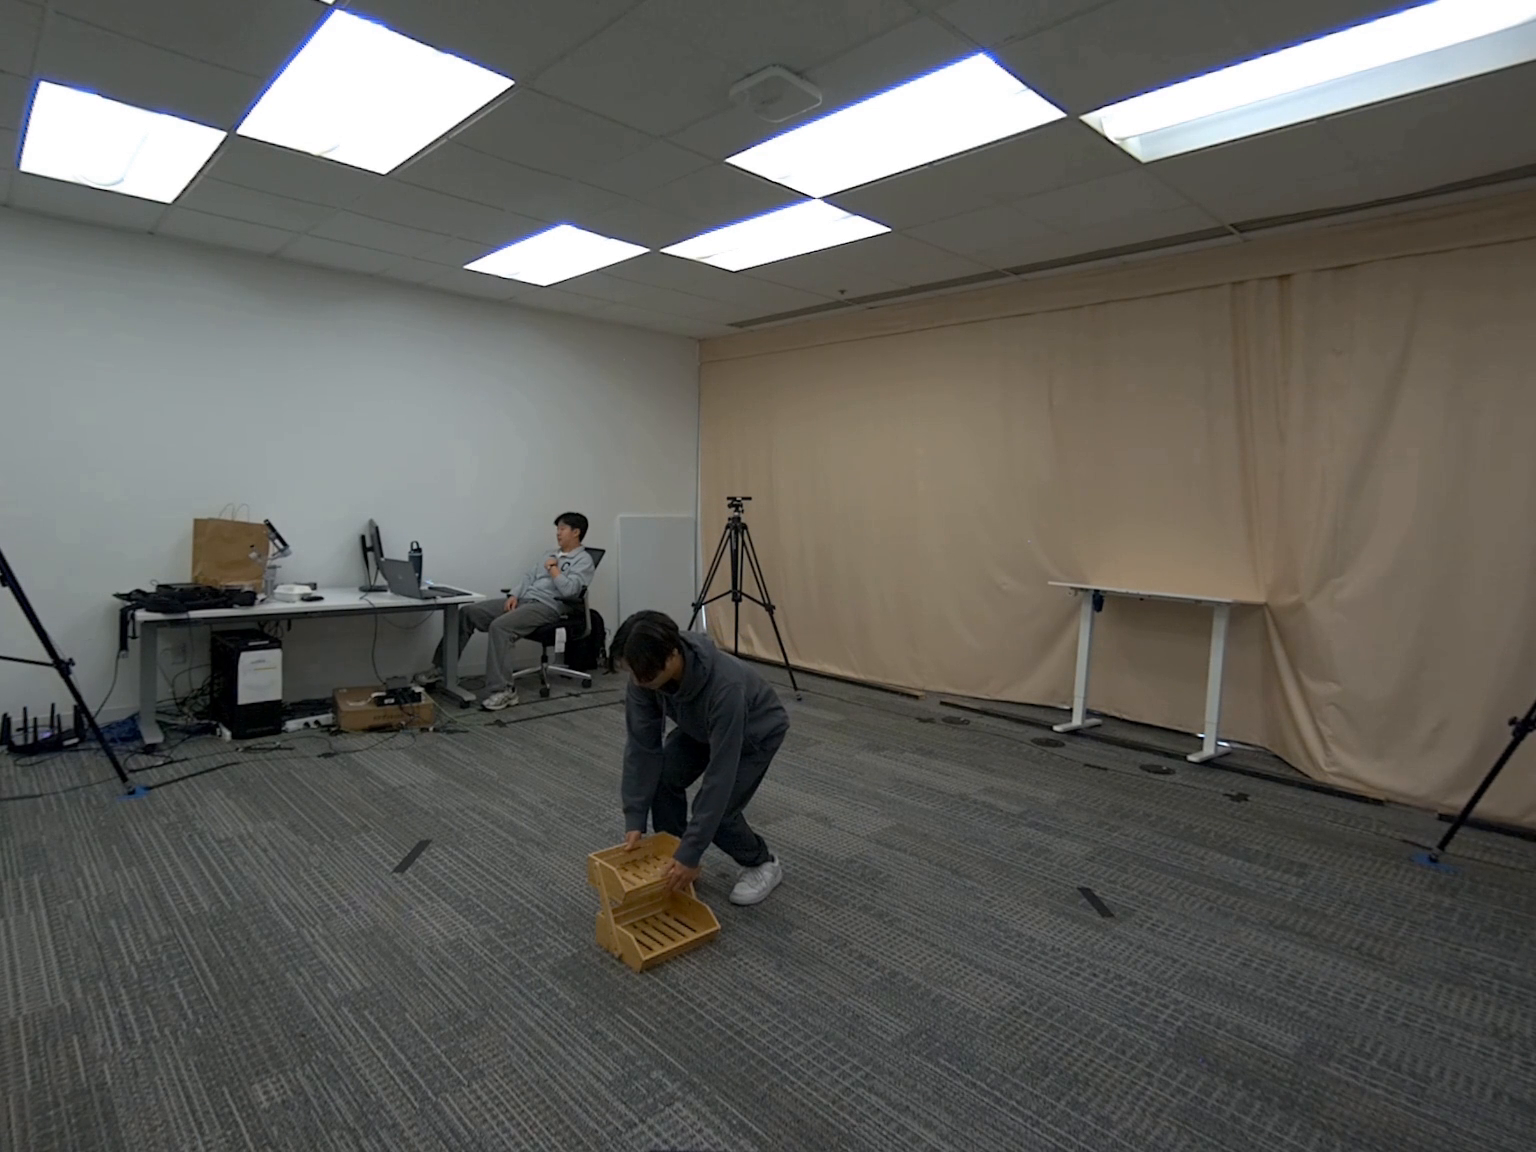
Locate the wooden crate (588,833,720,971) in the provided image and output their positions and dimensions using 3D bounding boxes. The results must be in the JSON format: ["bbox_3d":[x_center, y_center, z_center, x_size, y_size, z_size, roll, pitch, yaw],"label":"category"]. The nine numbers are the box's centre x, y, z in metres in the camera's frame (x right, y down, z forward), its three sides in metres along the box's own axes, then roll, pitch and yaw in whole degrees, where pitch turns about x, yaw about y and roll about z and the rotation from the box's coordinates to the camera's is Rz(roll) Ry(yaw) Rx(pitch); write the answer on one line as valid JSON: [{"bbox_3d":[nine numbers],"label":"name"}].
[{"bbox_3d":[-0.362,1.009,2.643,0.317,0.273,0.309,-2,4,-44],"label":"wooden crate"}]
